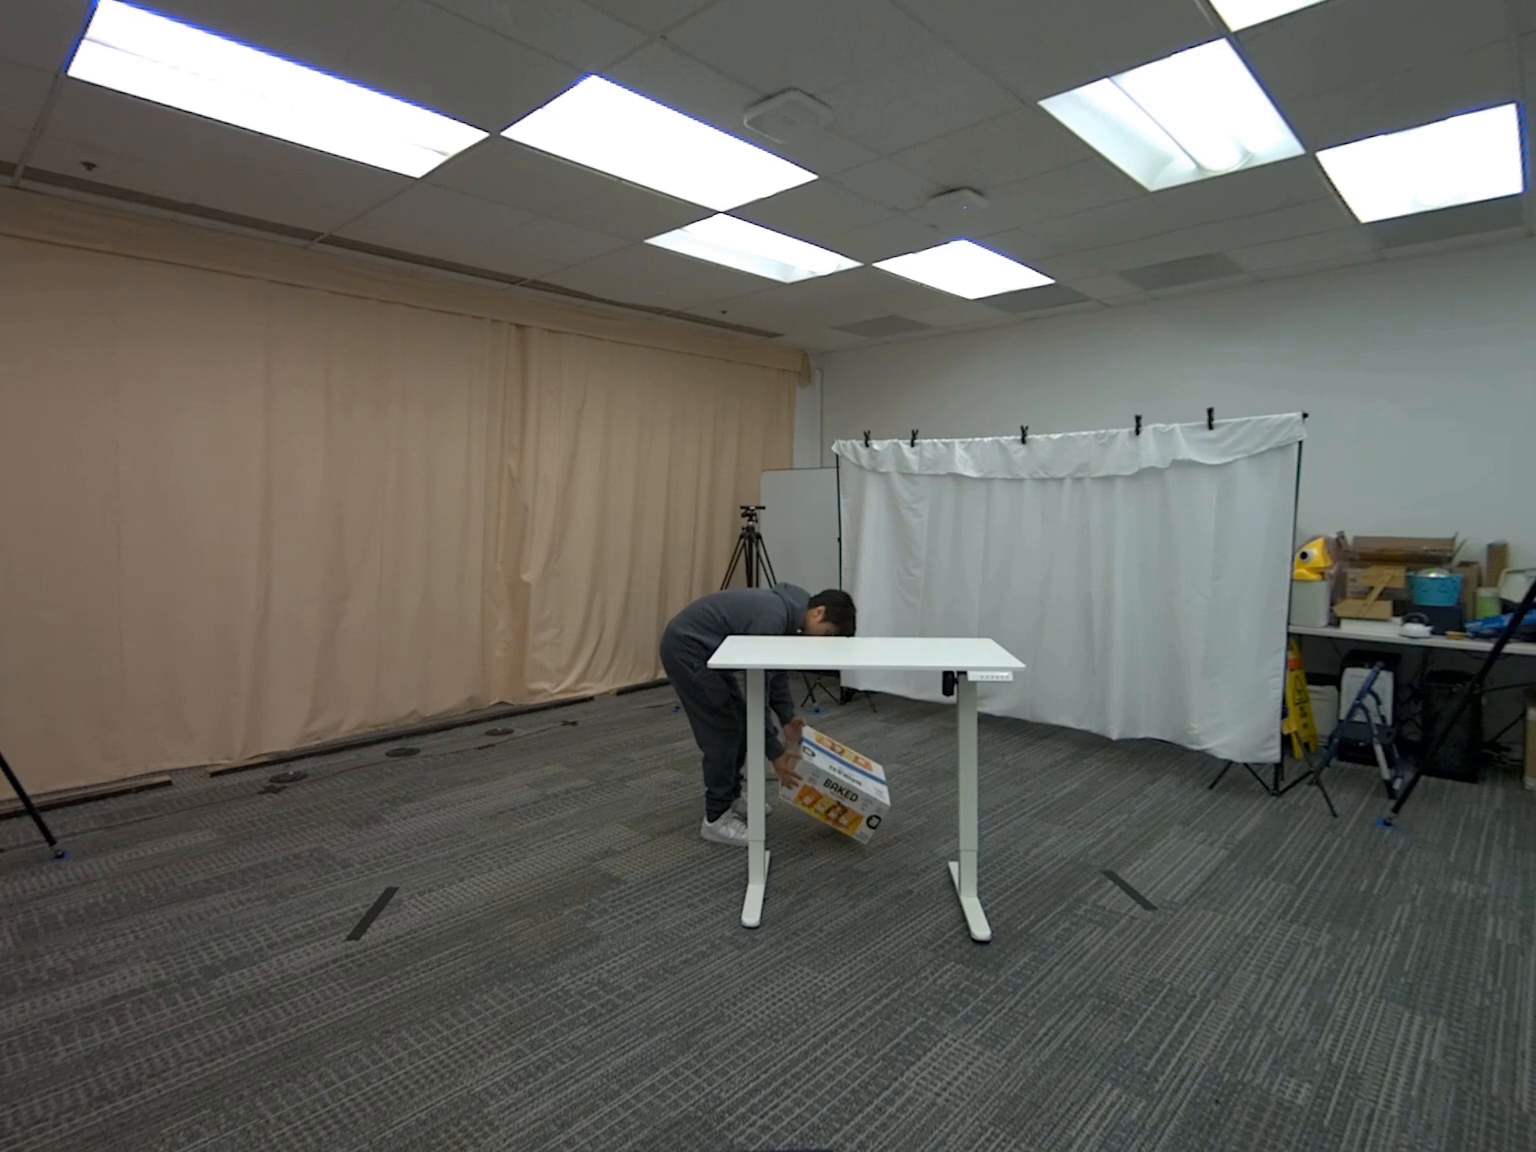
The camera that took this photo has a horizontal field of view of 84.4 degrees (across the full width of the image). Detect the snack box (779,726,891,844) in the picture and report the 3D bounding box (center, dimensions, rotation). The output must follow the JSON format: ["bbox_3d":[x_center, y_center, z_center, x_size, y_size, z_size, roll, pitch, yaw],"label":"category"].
[{"bbox_3d":[0.272,0.856,3.514,0.404,0.205,0.342,28,13,-3],"label":"snack box"}]
